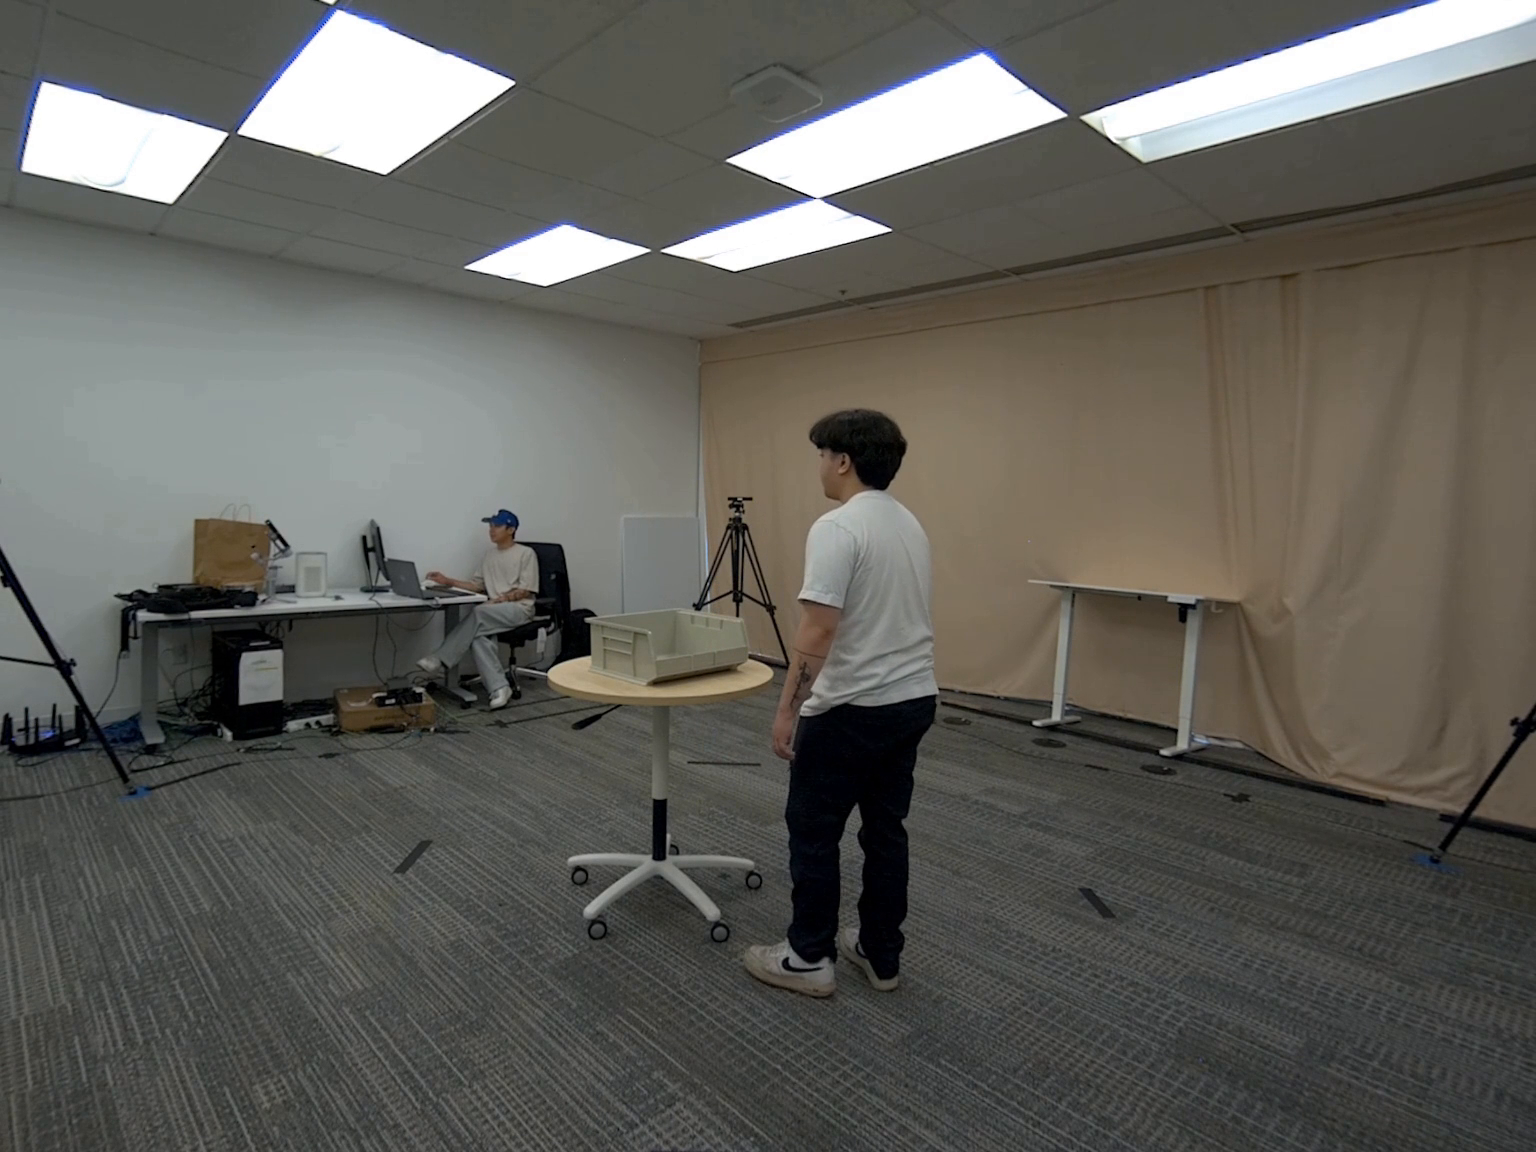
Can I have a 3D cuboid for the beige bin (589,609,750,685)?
[{"bbox_3d":[-0.342,0.241,2.870,0.387,0.188,0.413,4,6,44],"label":"beige bin"}]
